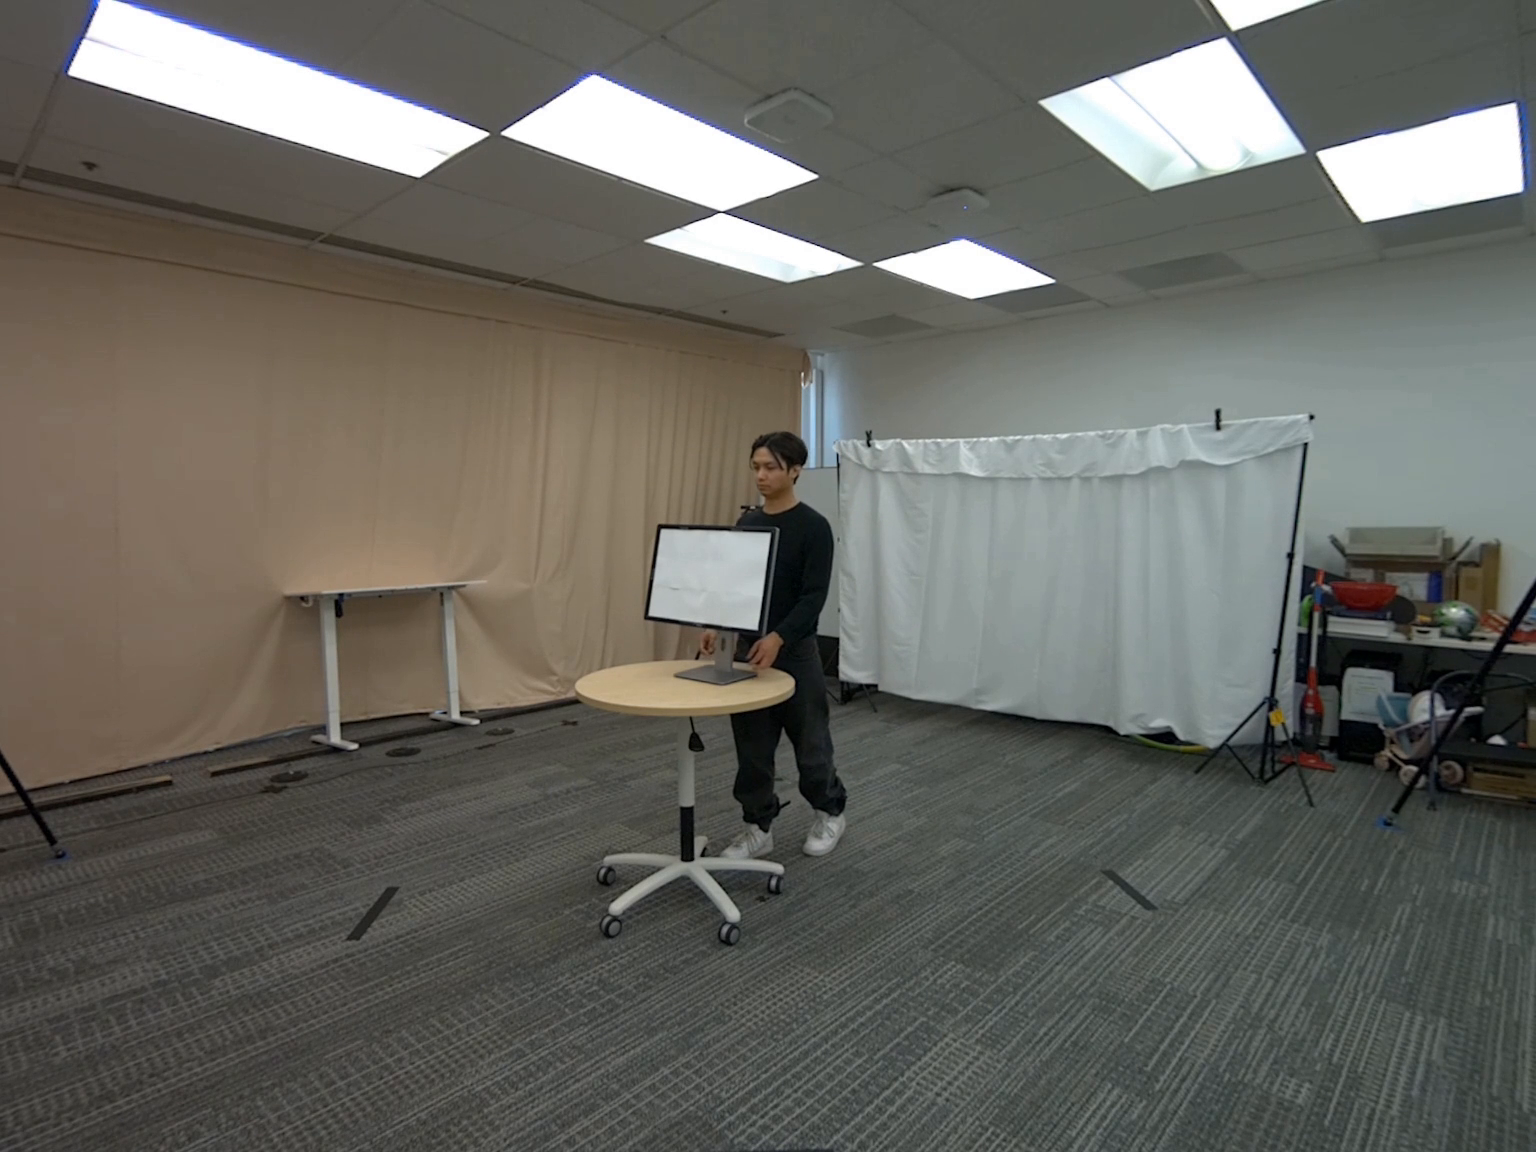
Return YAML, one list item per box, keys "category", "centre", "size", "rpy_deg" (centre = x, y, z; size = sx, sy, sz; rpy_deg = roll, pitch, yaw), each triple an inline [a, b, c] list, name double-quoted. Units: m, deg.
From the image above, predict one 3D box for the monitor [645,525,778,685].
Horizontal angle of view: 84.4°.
- category: "monitor"
  centre: [-0.185, 0.092, 3.009]
  size: [0.557, 0.521, 0.182]
  rpy_deg: [3, 6, 38]
